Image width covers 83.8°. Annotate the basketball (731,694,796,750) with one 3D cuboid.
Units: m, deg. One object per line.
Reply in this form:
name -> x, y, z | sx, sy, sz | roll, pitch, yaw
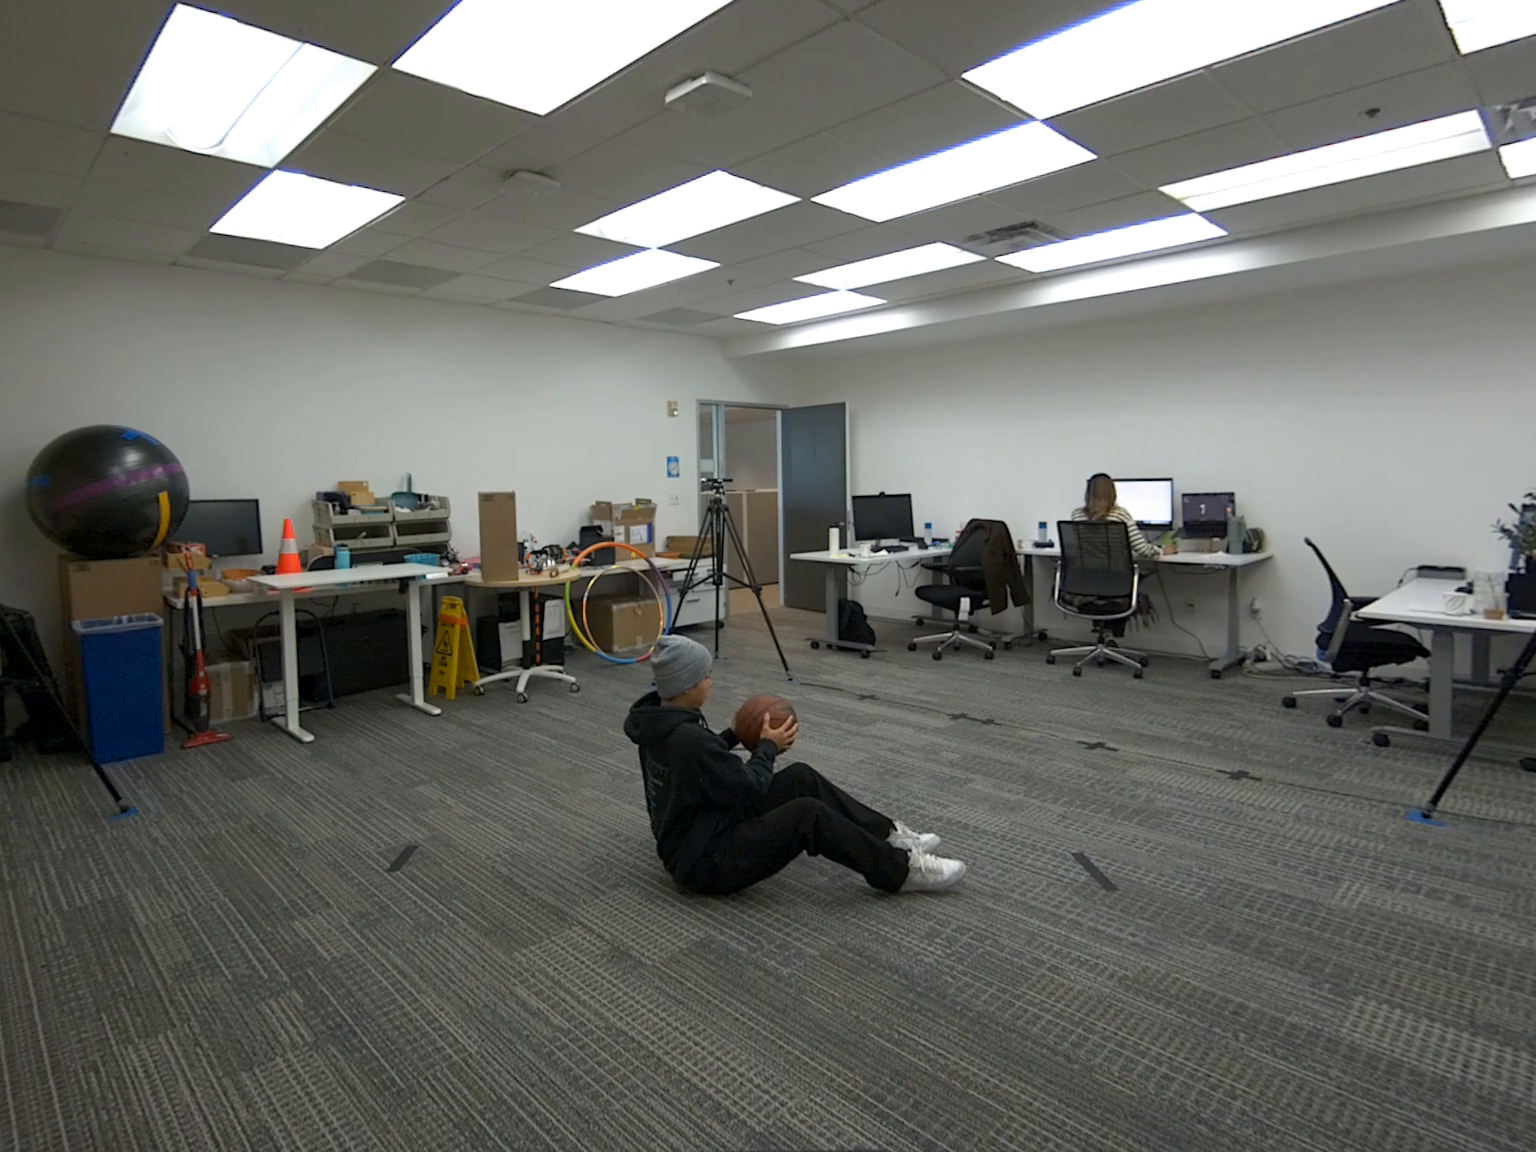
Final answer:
basketball -> -0.004, 0.573, 3.259 | 0.236, 0.235, 0.237 | -1, 5, -2
